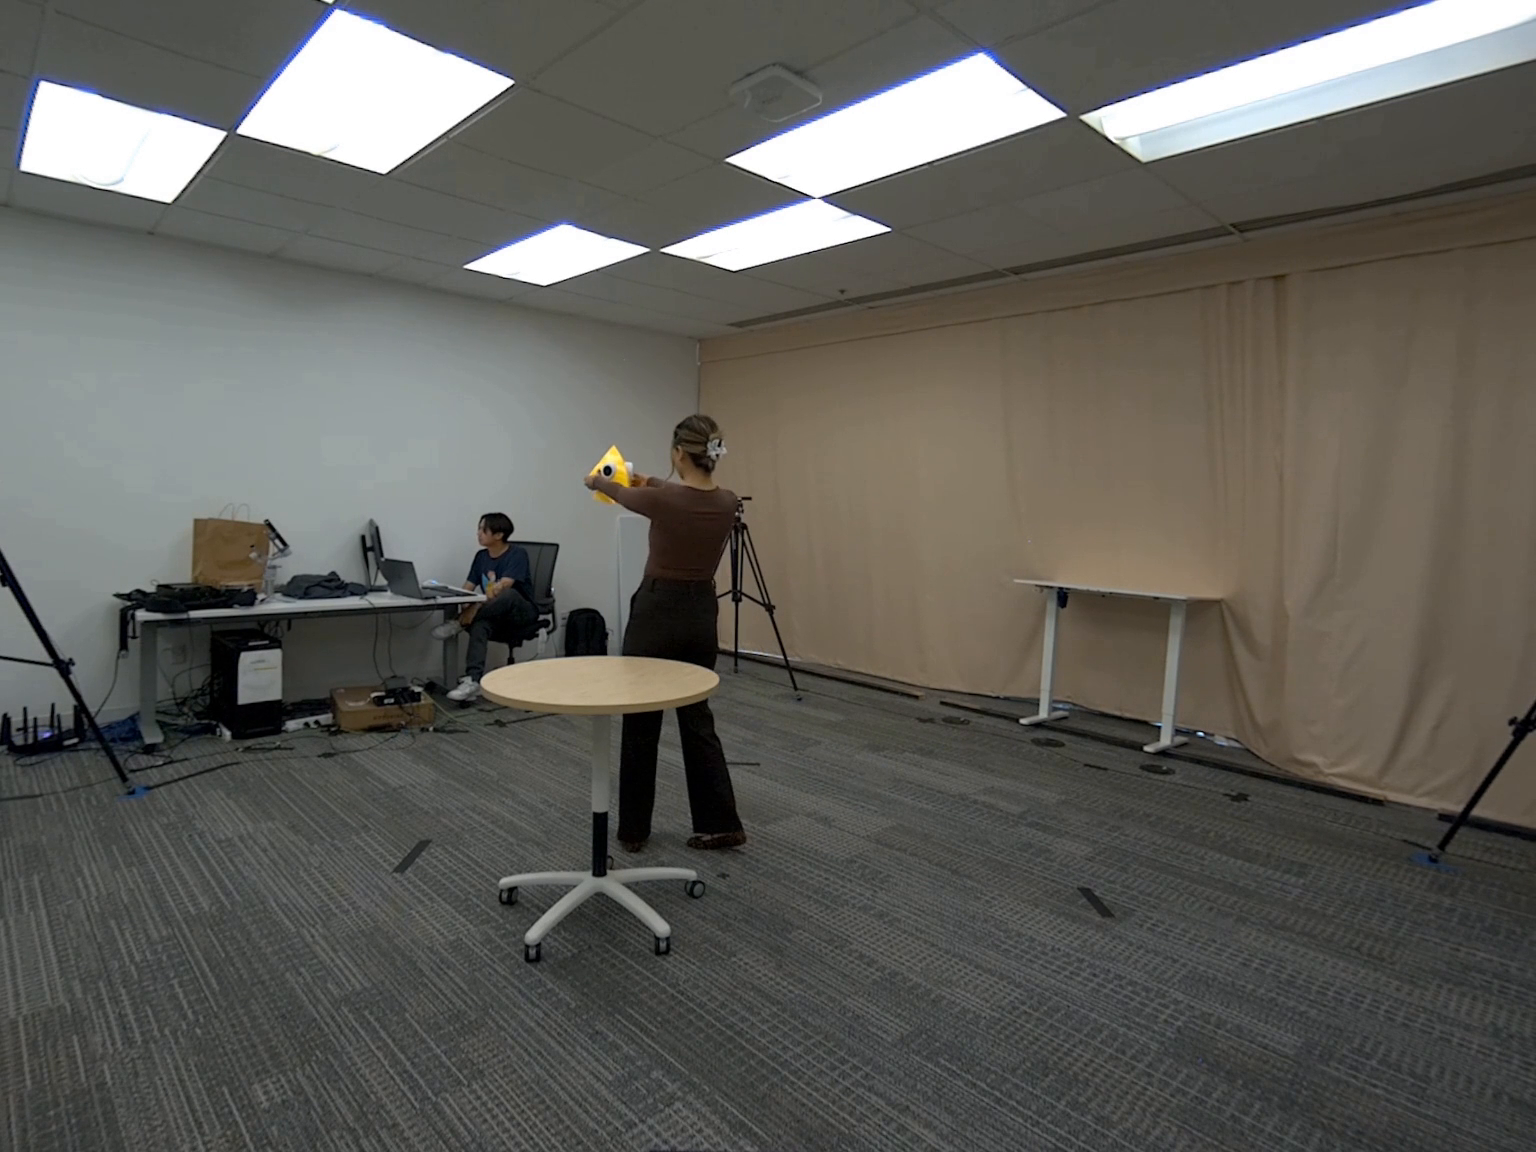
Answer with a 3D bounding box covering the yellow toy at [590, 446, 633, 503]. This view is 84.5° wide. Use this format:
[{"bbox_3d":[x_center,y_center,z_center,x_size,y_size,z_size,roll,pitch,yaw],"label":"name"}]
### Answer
[{"bbox_3d":[-0.665,-0.451,3.699,0.200,0.229,0.199,-3,17,-40],"label":"yellow toy"}]
